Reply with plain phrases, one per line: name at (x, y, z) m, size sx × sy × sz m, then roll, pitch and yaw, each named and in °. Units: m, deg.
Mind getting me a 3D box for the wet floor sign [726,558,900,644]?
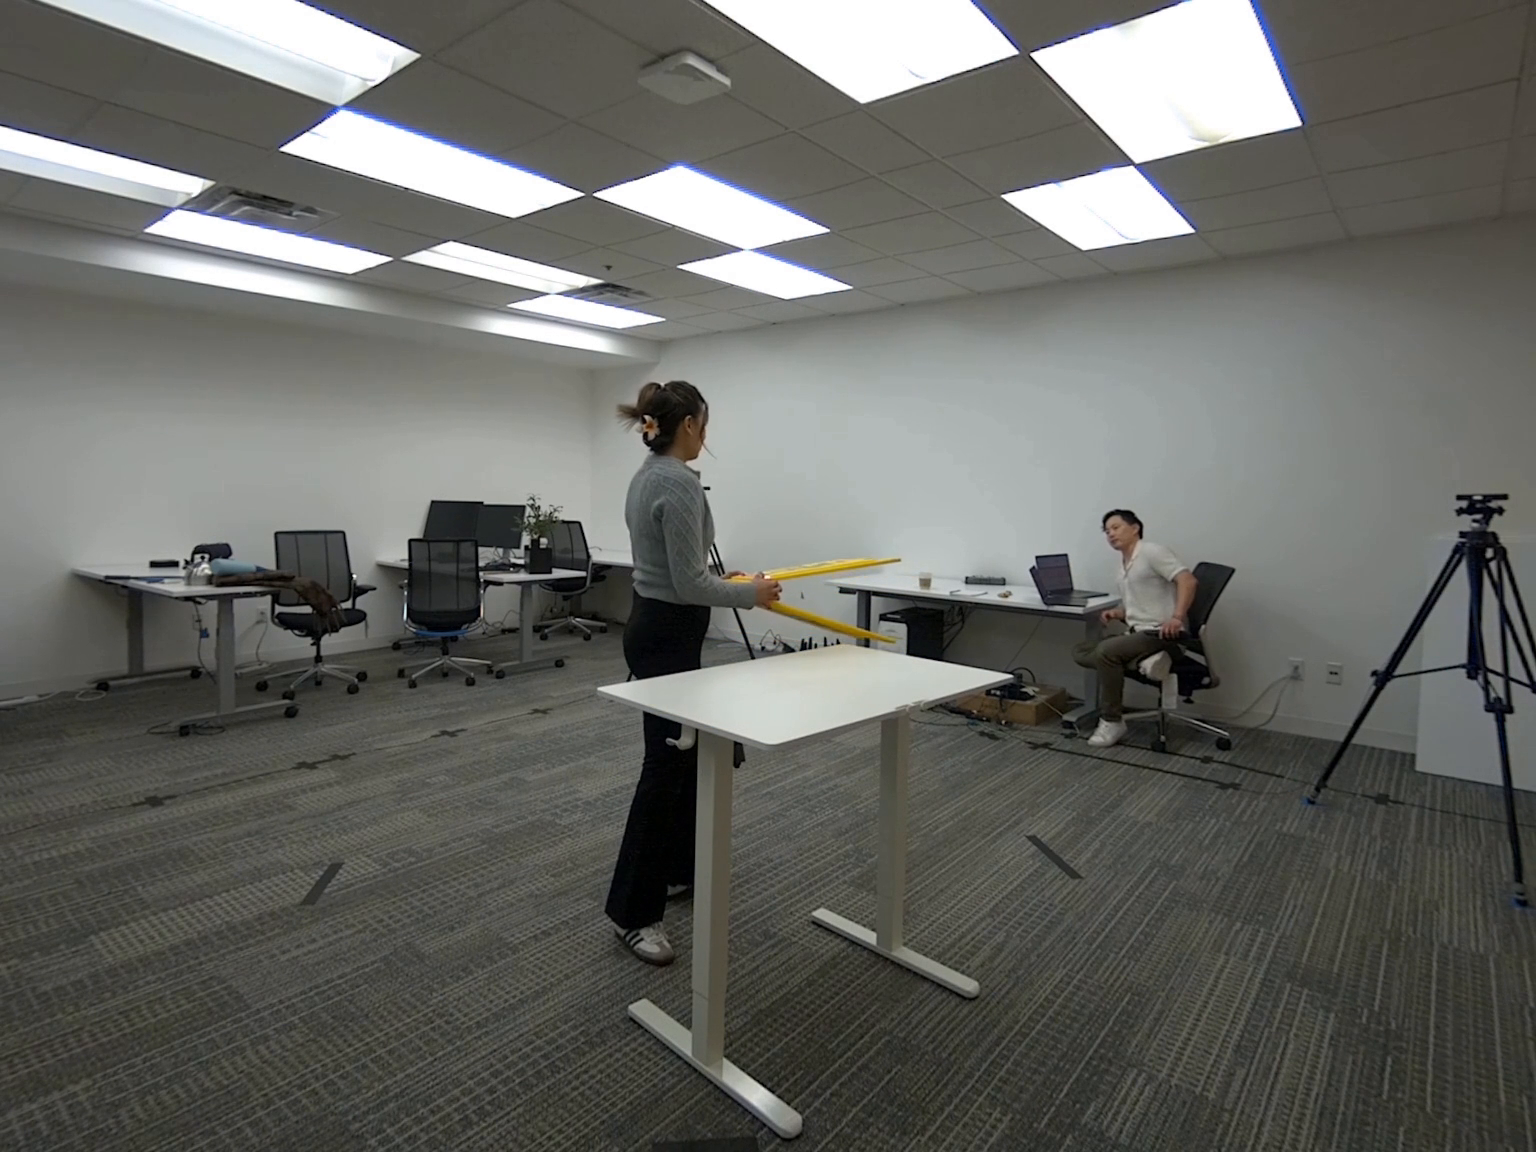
wet floor sign at (0.101, 0.060, 2.933) m, size 0.633 × 0.290 × 0.287 m, roll 5°, pitch -2°, yaw -18°
